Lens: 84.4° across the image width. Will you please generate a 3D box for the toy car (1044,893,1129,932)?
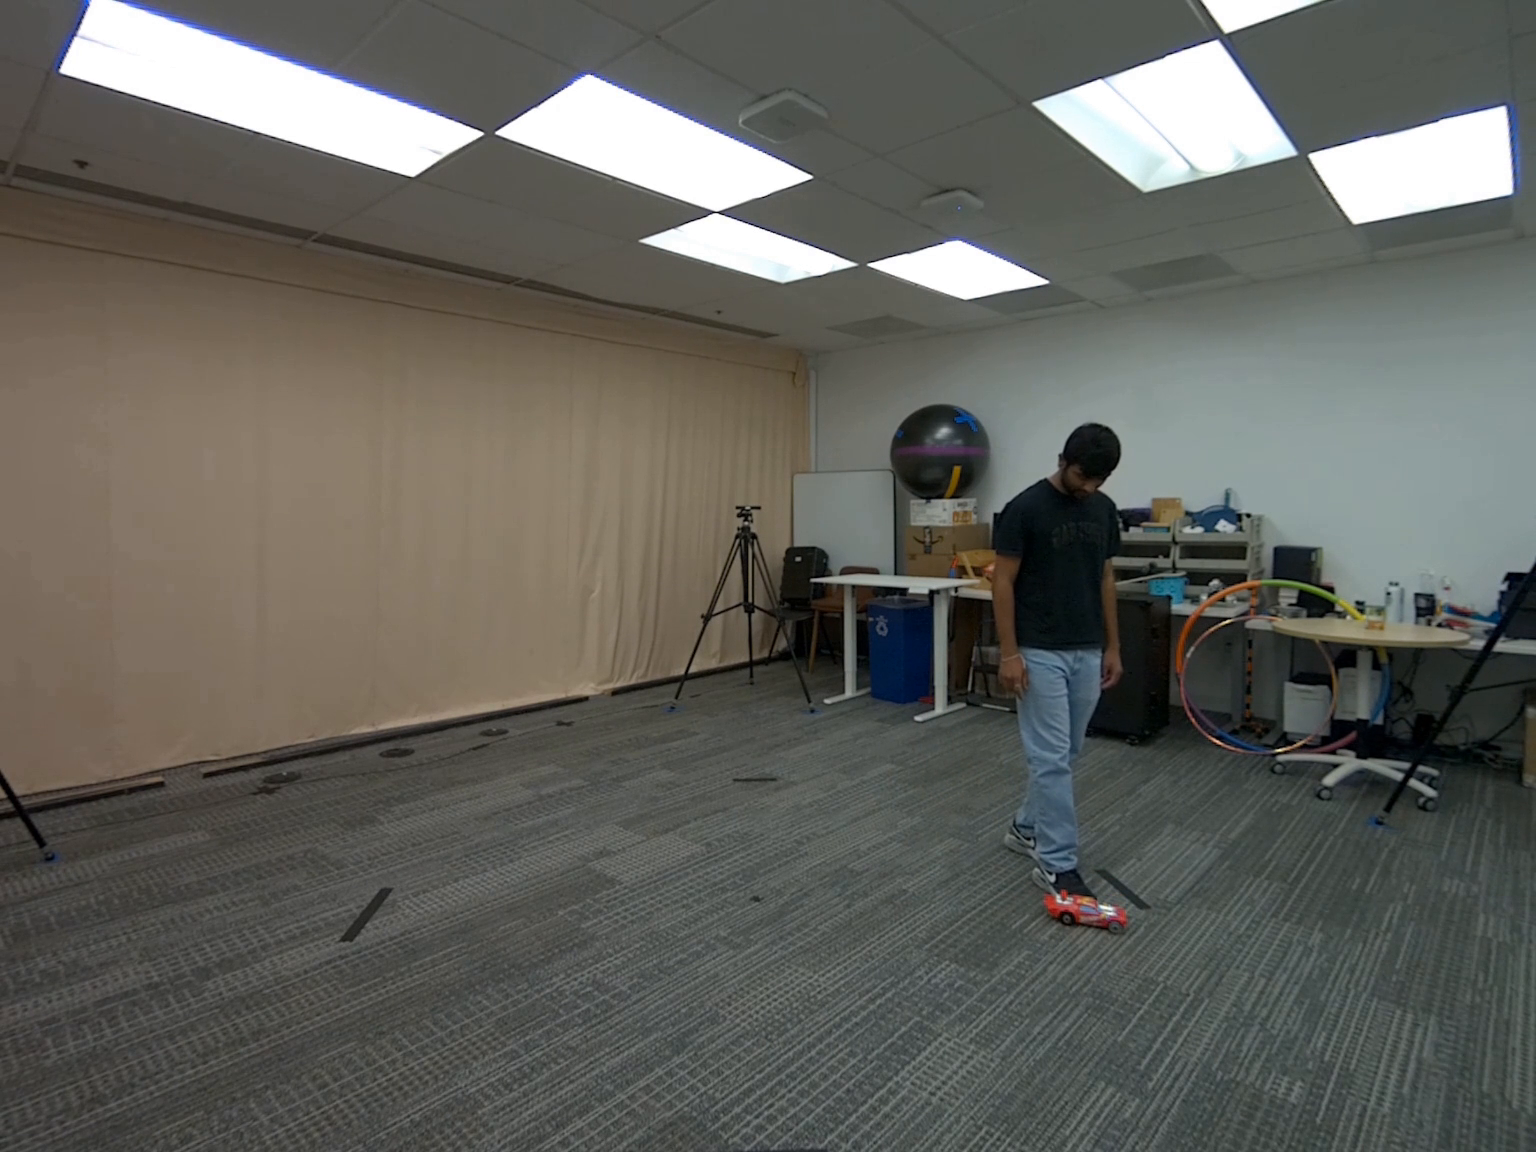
[{"bbox_3d":[1.065,1.128,2.820,0.260,0.083,0.128,13,9,20],"label":"toy car"}]
